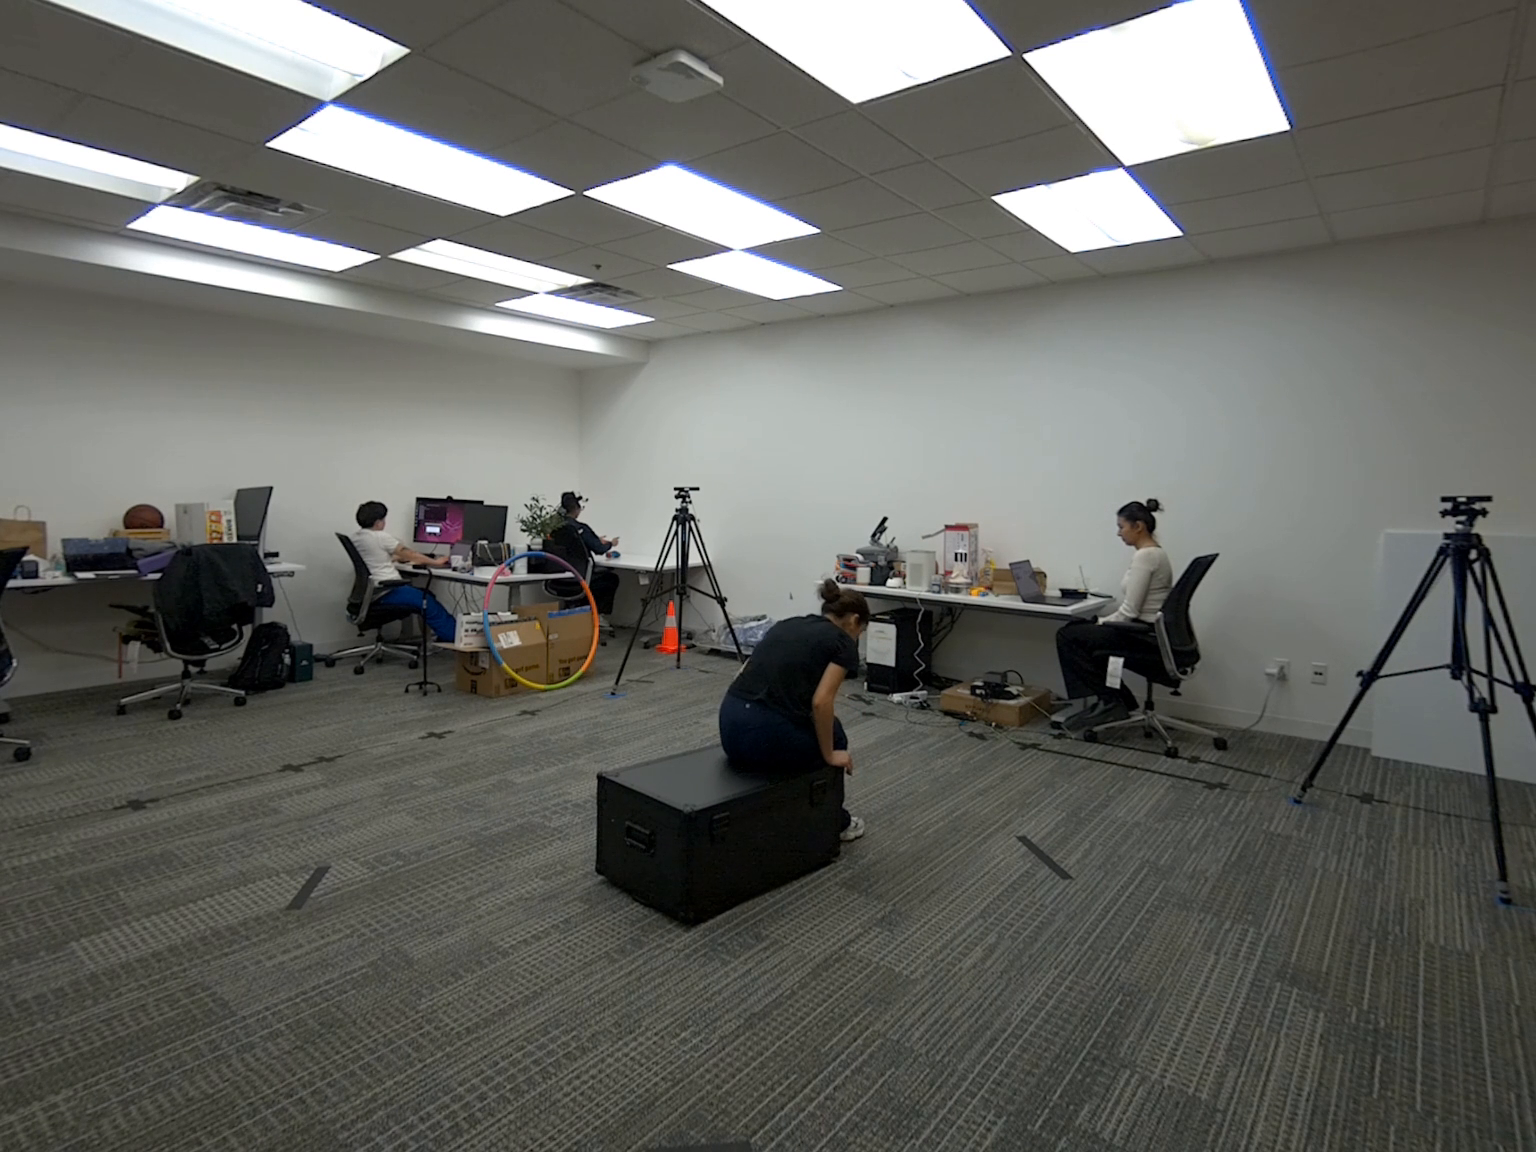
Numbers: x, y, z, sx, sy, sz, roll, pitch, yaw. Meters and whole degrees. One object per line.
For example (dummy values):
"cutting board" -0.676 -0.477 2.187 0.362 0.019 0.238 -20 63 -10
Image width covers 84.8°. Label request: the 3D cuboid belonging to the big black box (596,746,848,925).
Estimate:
"big black box" -0.176 0.882 3.080 0.835 0.395 0.539 -2 5 -44
